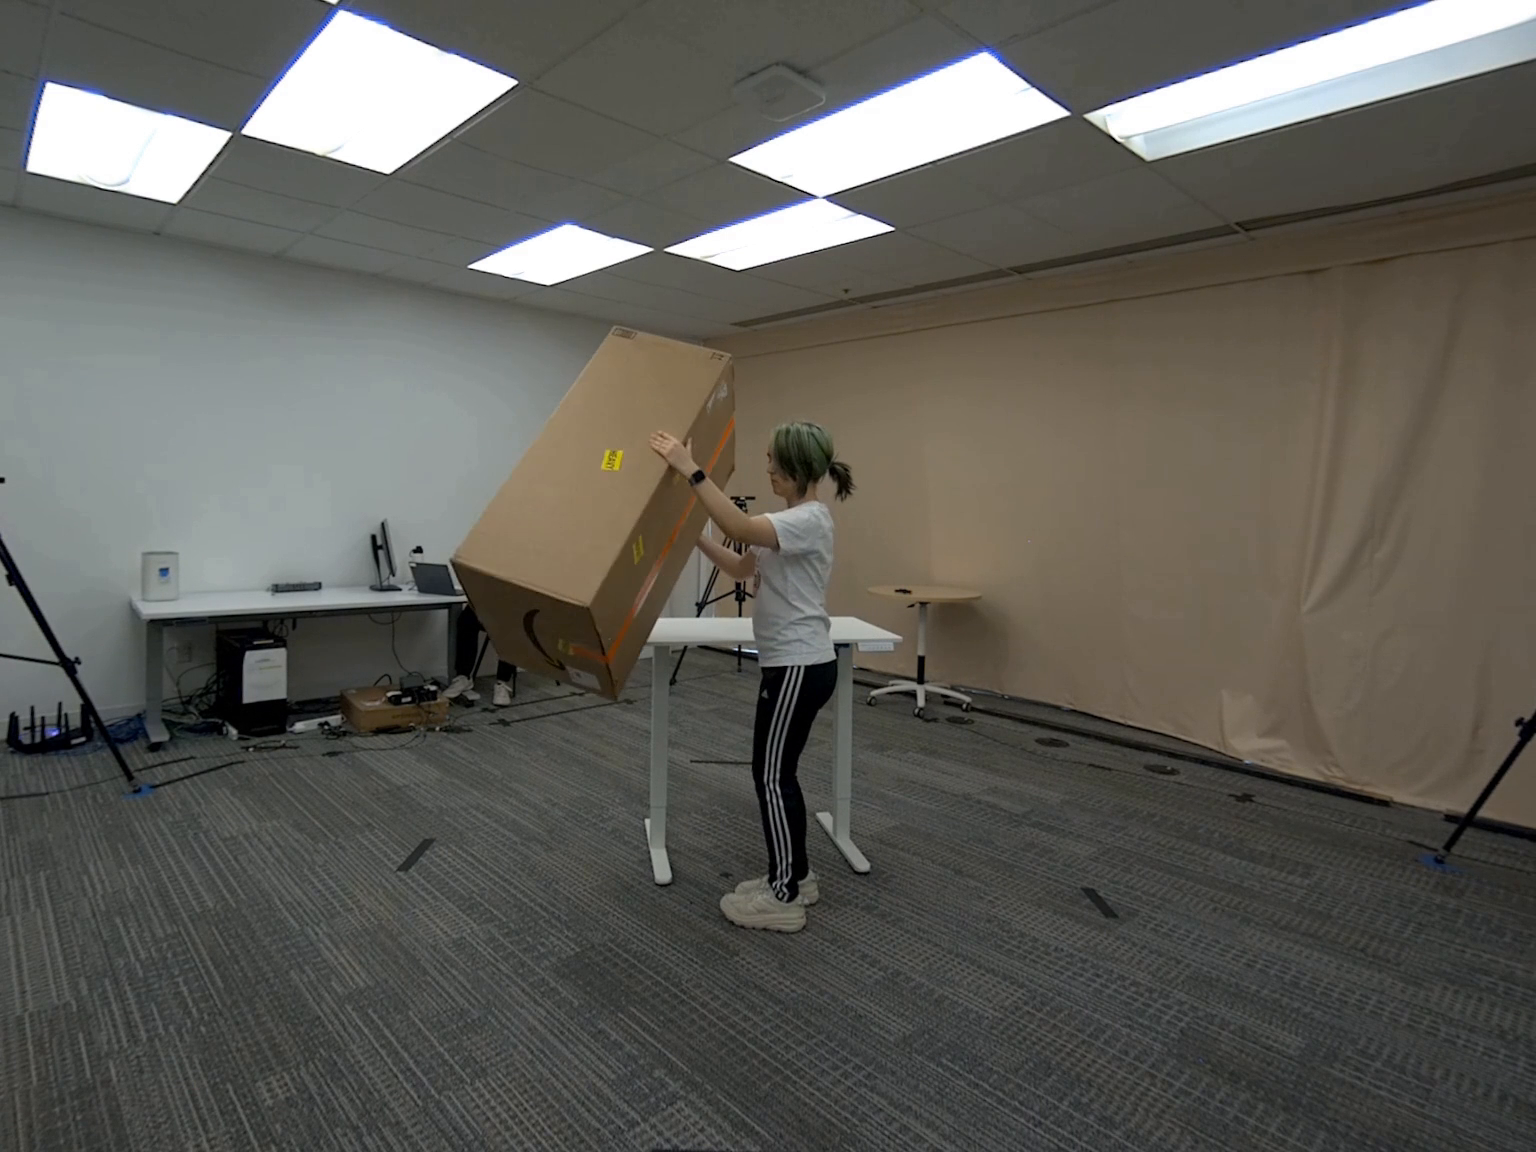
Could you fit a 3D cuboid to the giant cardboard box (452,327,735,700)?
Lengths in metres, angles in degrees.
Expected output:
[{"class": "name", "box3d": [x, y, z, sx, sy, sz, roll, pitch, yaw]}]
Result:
[{"class": "giant cardboard box", "box3d": [-0.494, -0.213, 2.710, 0.452, 1.036, 0.572, 17, -33, 10]}]
